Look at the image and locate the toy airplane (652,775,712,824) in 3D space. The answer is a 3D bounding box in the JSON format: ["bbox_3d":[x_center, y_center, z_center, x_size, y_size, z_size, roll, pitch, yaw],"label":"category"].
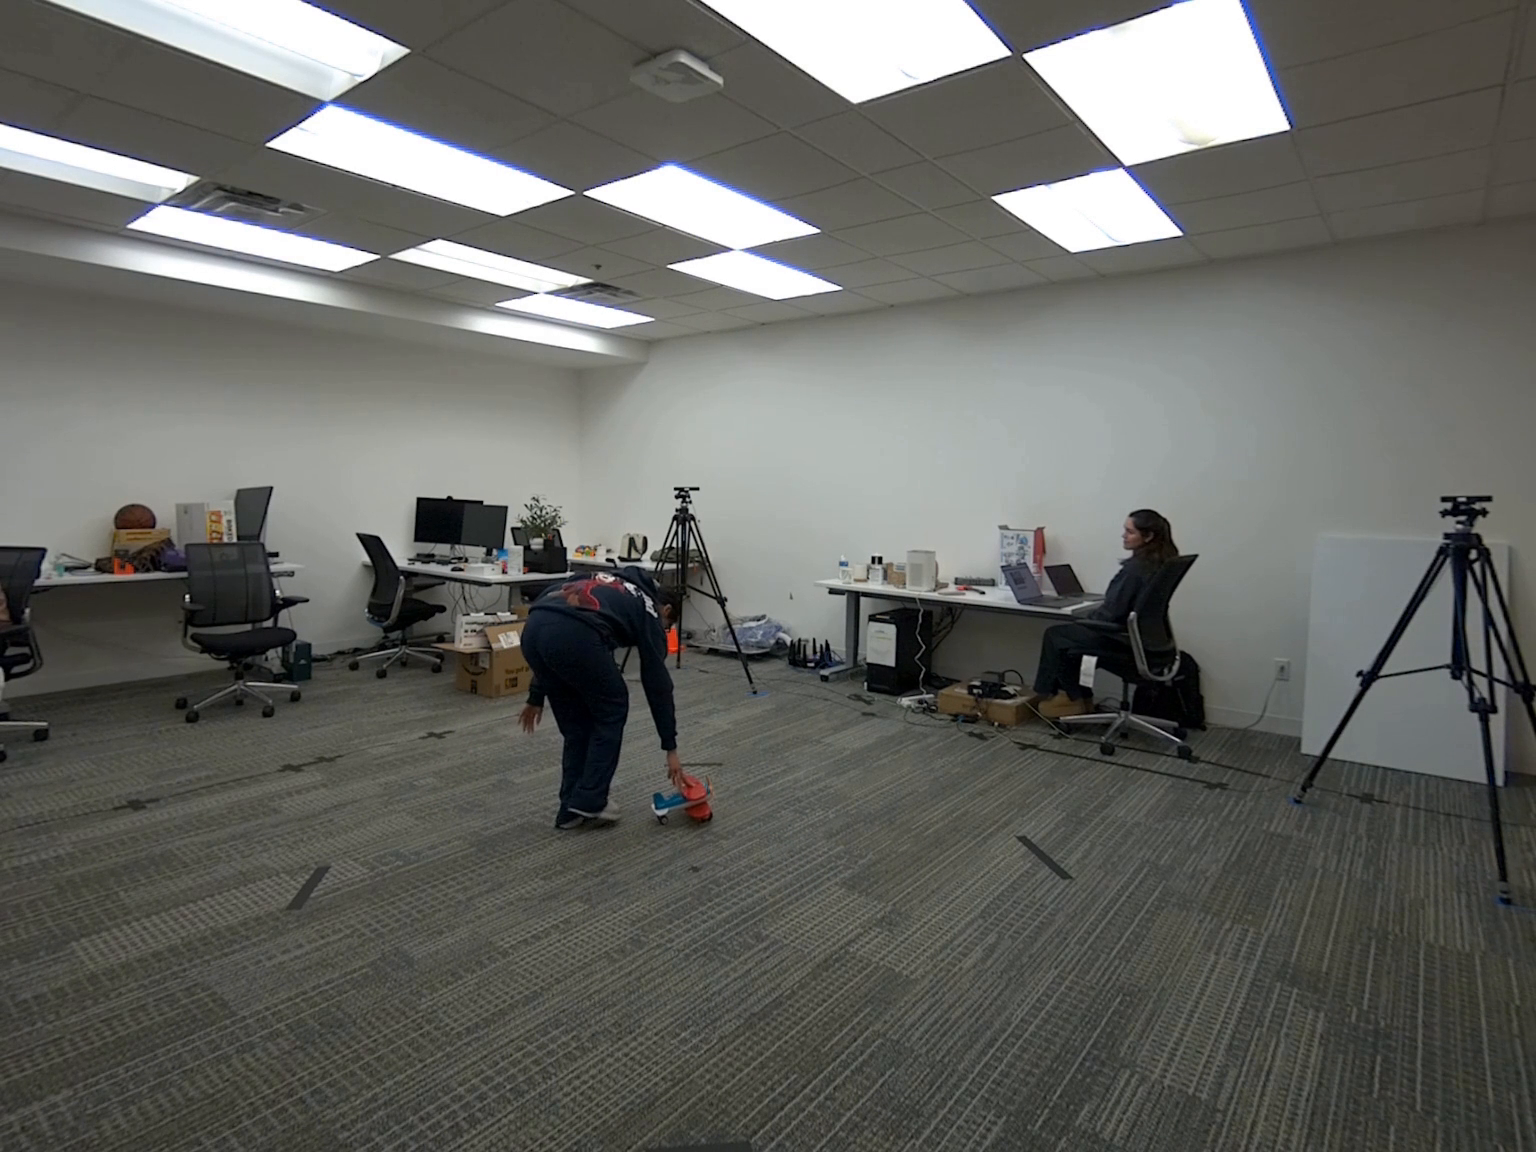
[{"bbox_3d":[-0.360,0.950,3.546,0.260,0.156,0.251,6,6,44],"label":"toy airplane"}]
